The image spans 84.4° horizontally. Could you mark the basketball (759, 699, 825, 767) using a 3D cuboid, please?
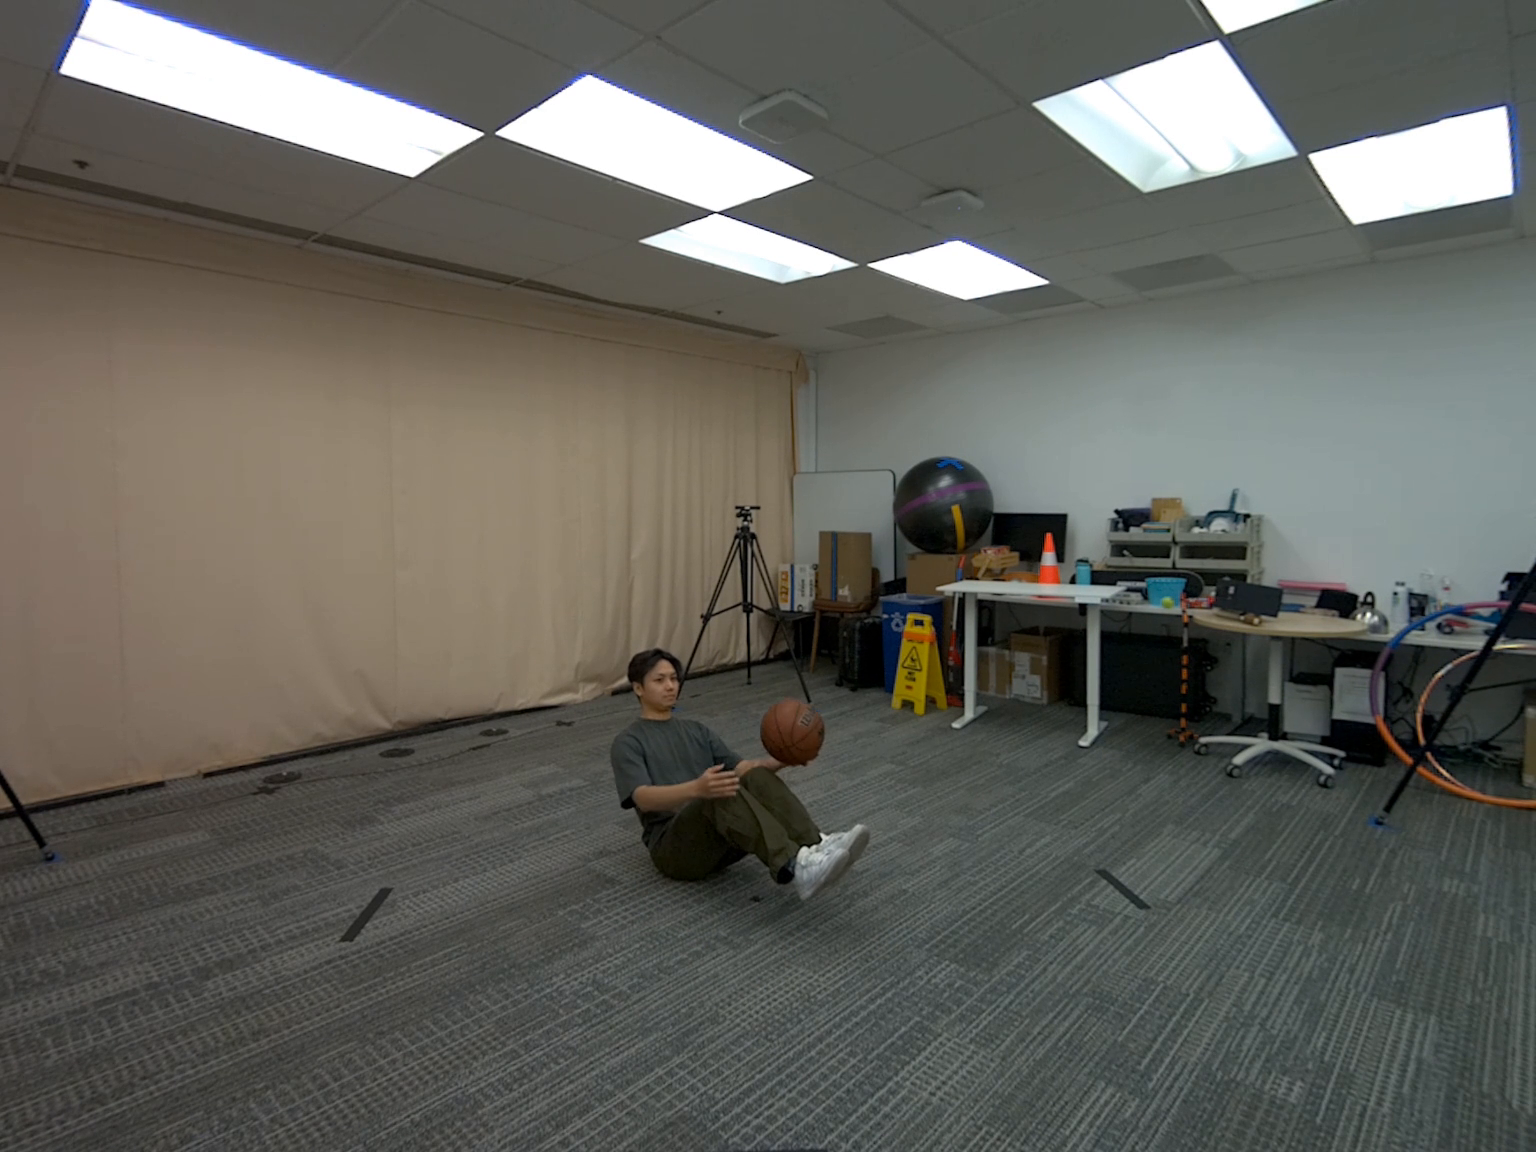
[{"bbox_3d":[0.086,0.589,3.111,0.236,0.235,0.237,0,4,-2],"label":"basketball"}]
